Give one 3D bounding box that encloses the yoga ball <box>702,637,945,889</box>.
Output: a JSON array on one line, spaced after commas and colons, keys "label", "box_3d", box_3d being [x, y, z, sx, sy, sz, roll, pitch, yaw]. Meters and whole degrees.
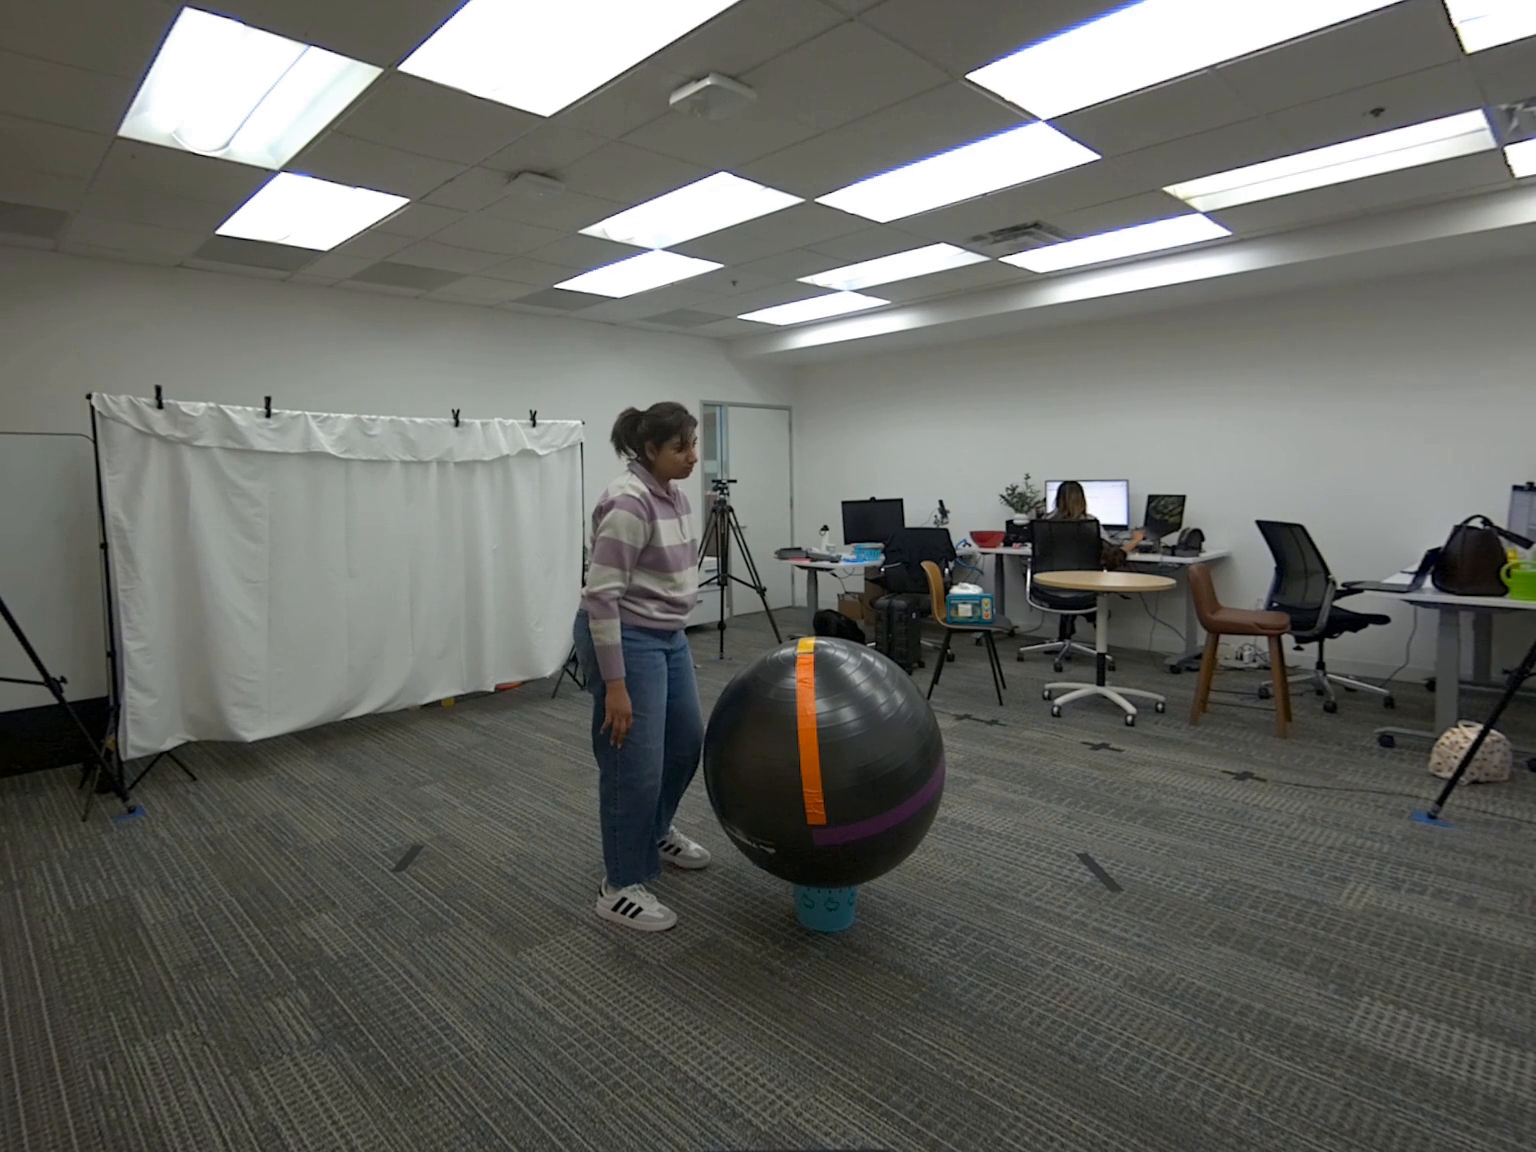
[{"label": "yoga ball", "box_3d": [0.181, 0.579, 2.684, 0.757, 0.755, 0.762, -1, 5, -2]}]
